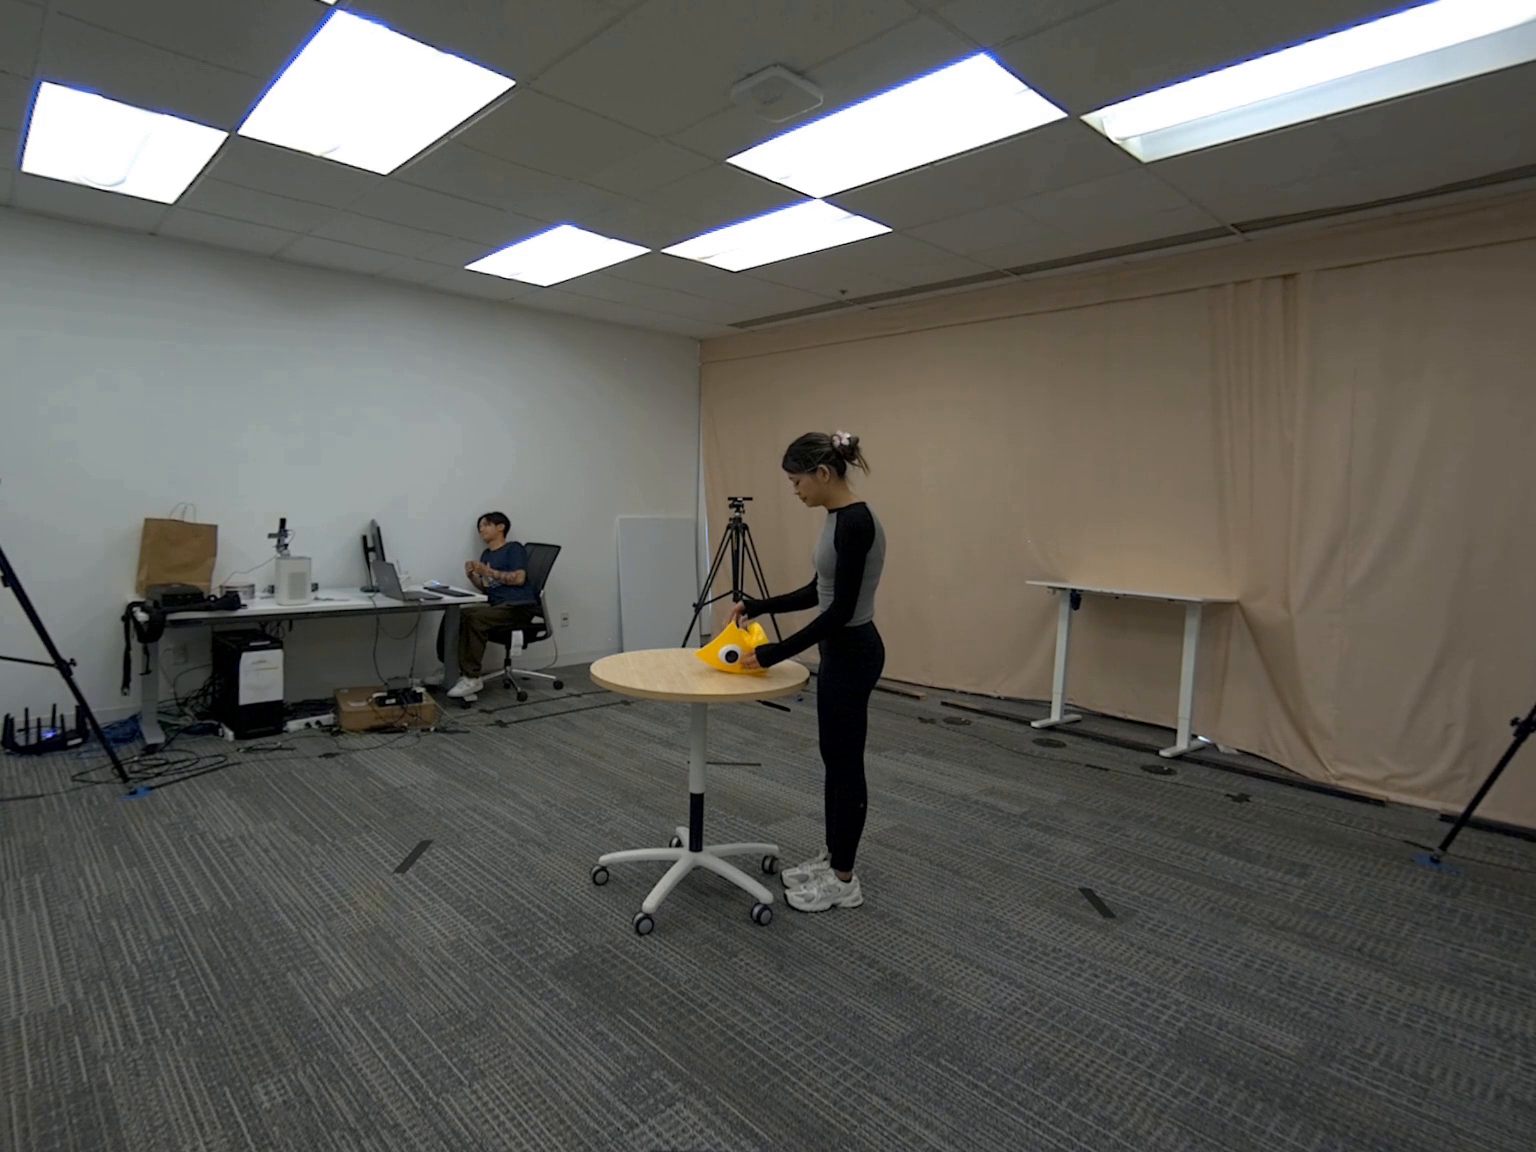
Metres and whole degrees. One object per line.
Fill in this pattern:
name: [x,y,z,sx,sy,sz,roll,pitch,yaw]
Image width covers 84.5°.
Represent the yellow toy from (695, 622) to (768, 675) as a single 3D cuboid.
yellow toy: [-0.128,0.276,2.919,0.229,0.196,0.203,-23,-14,-15]
